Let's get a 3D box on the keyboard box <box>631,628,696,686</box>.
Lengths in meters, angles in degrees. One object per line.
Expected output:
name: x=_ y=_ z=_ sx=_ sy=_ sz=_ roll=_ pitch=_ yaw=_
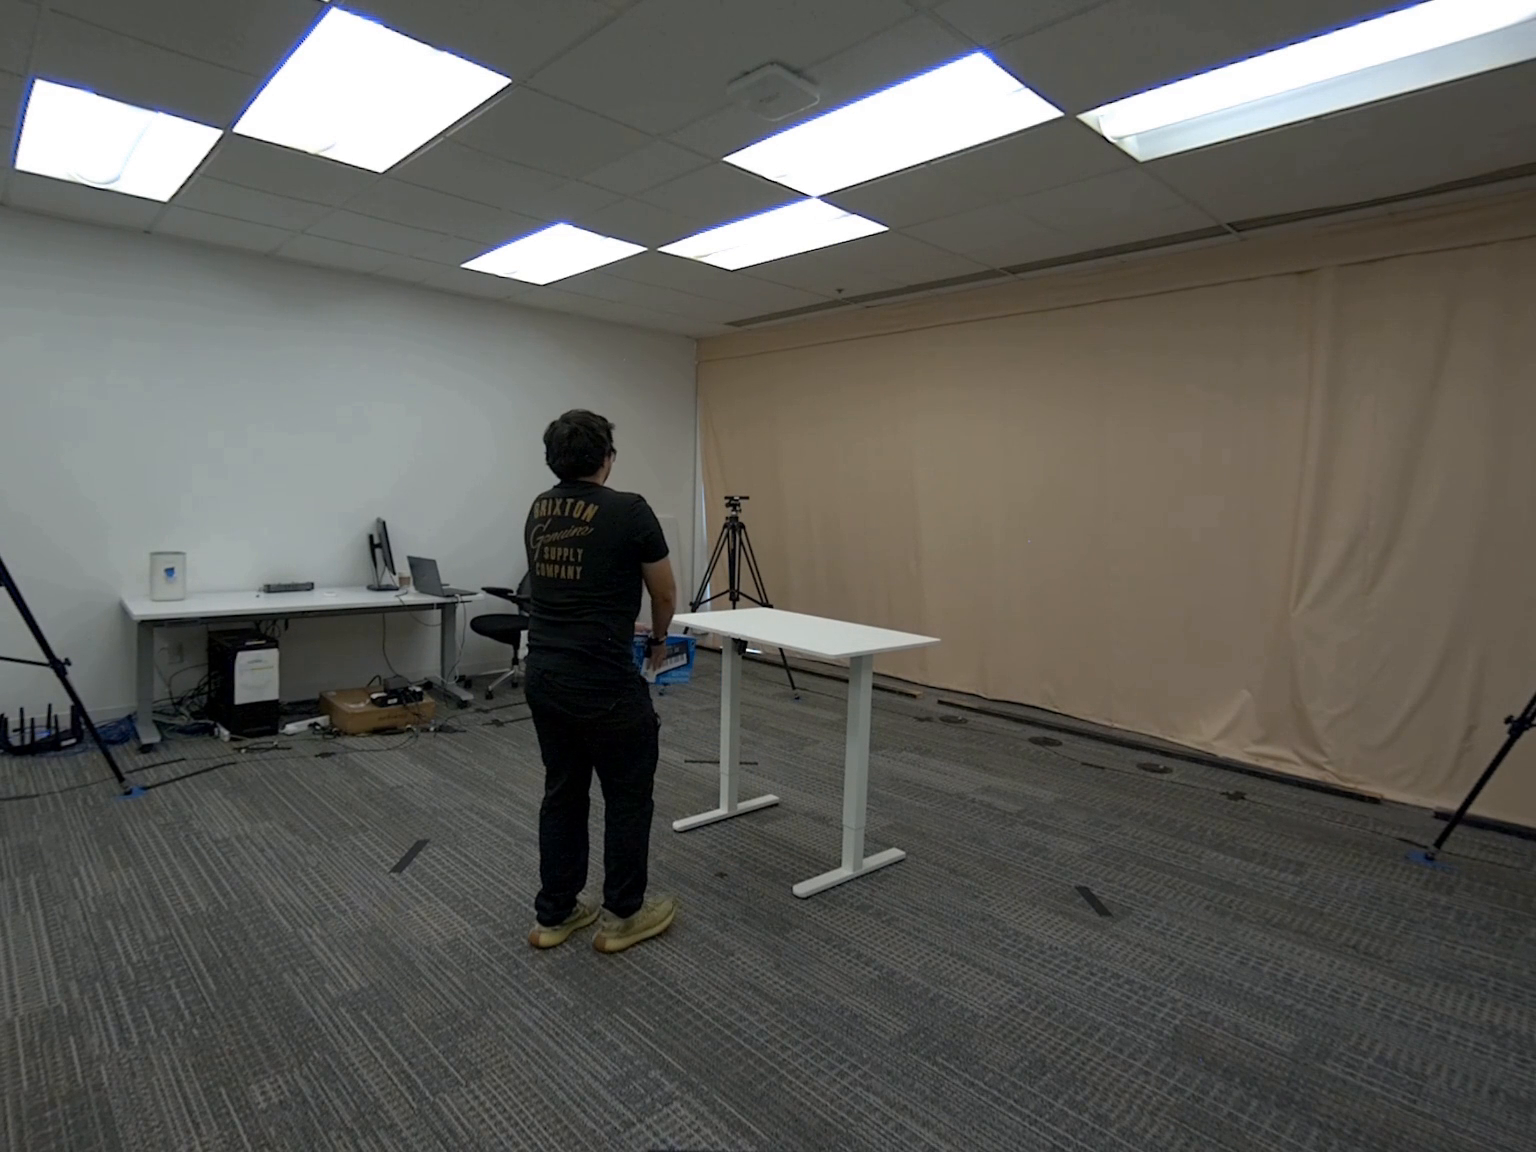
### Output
keyboard box: x=-0.402 y=0.300 z=2.972 sx=0.060 sy=0.176 sz=0.427 roll=11 pitch=-1 yaw=24
